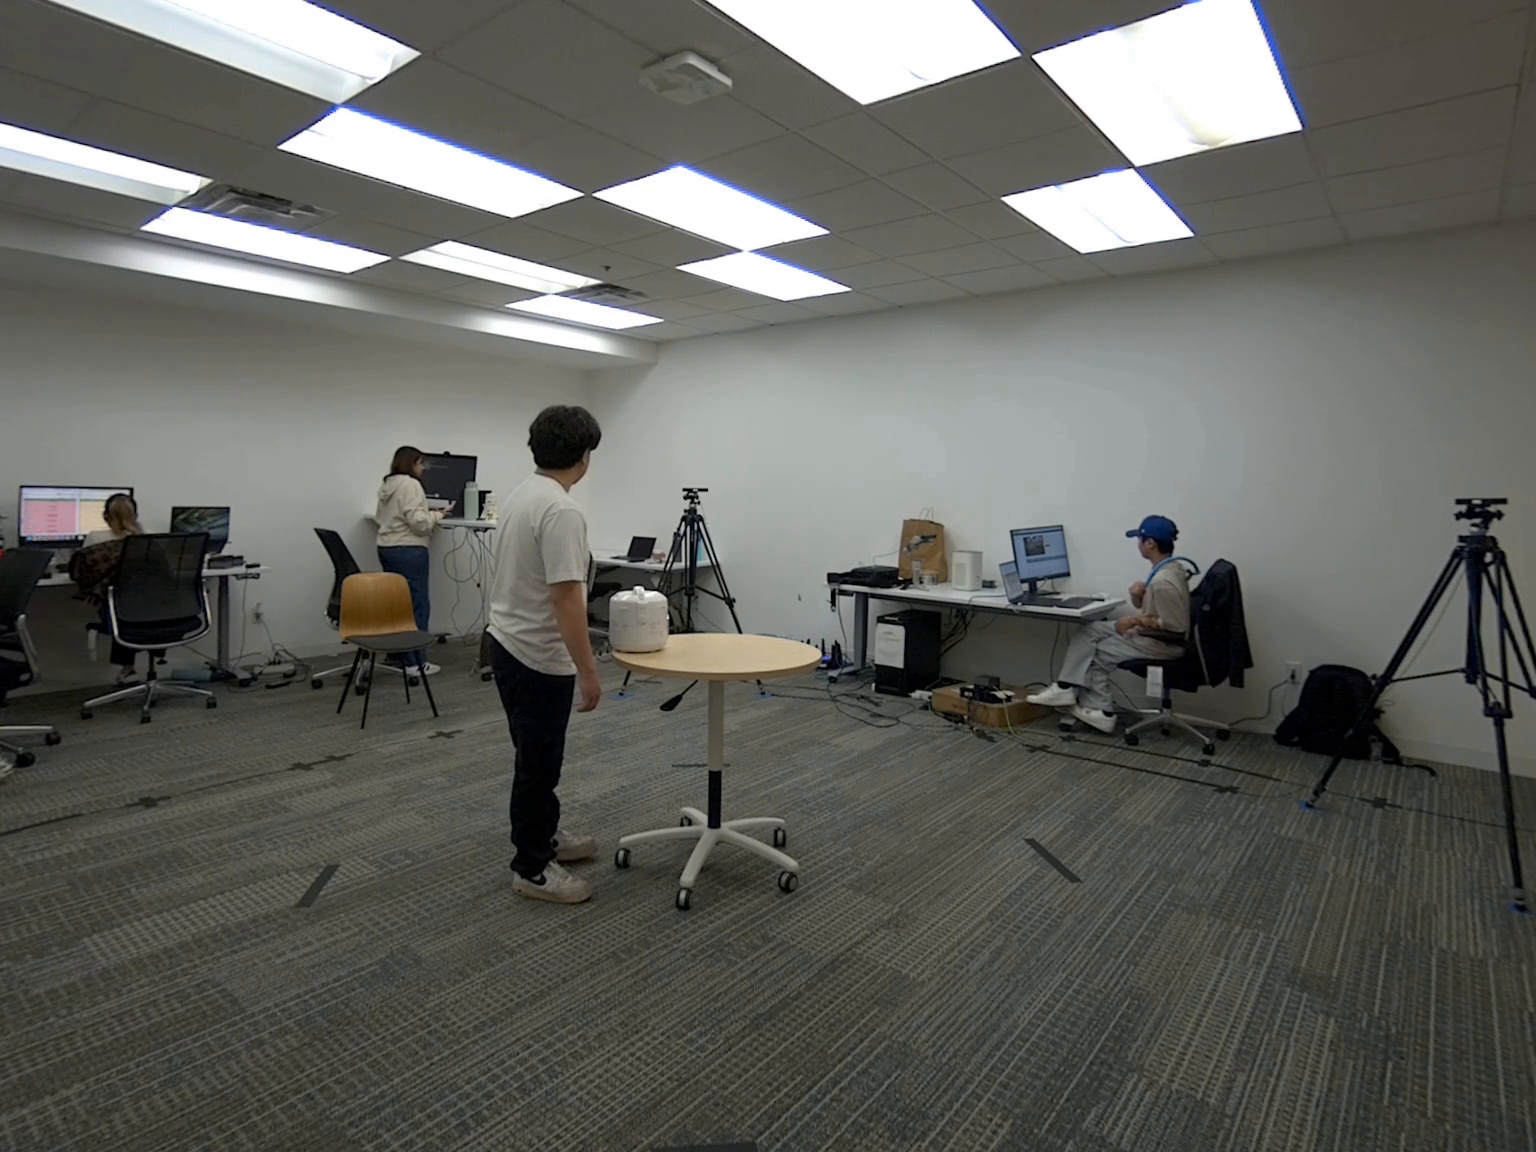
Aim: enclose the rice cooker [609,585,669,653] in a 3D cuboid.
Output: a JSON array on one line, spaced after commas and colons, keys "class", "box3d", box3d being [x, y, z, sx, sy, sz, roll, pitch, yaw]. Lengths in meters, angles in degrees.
[{"class": "rice cooker", "box3d": [-0.486, 0.155, 3.129, 0.215, 0.232, 0.224, -1, 5, -13]}]
